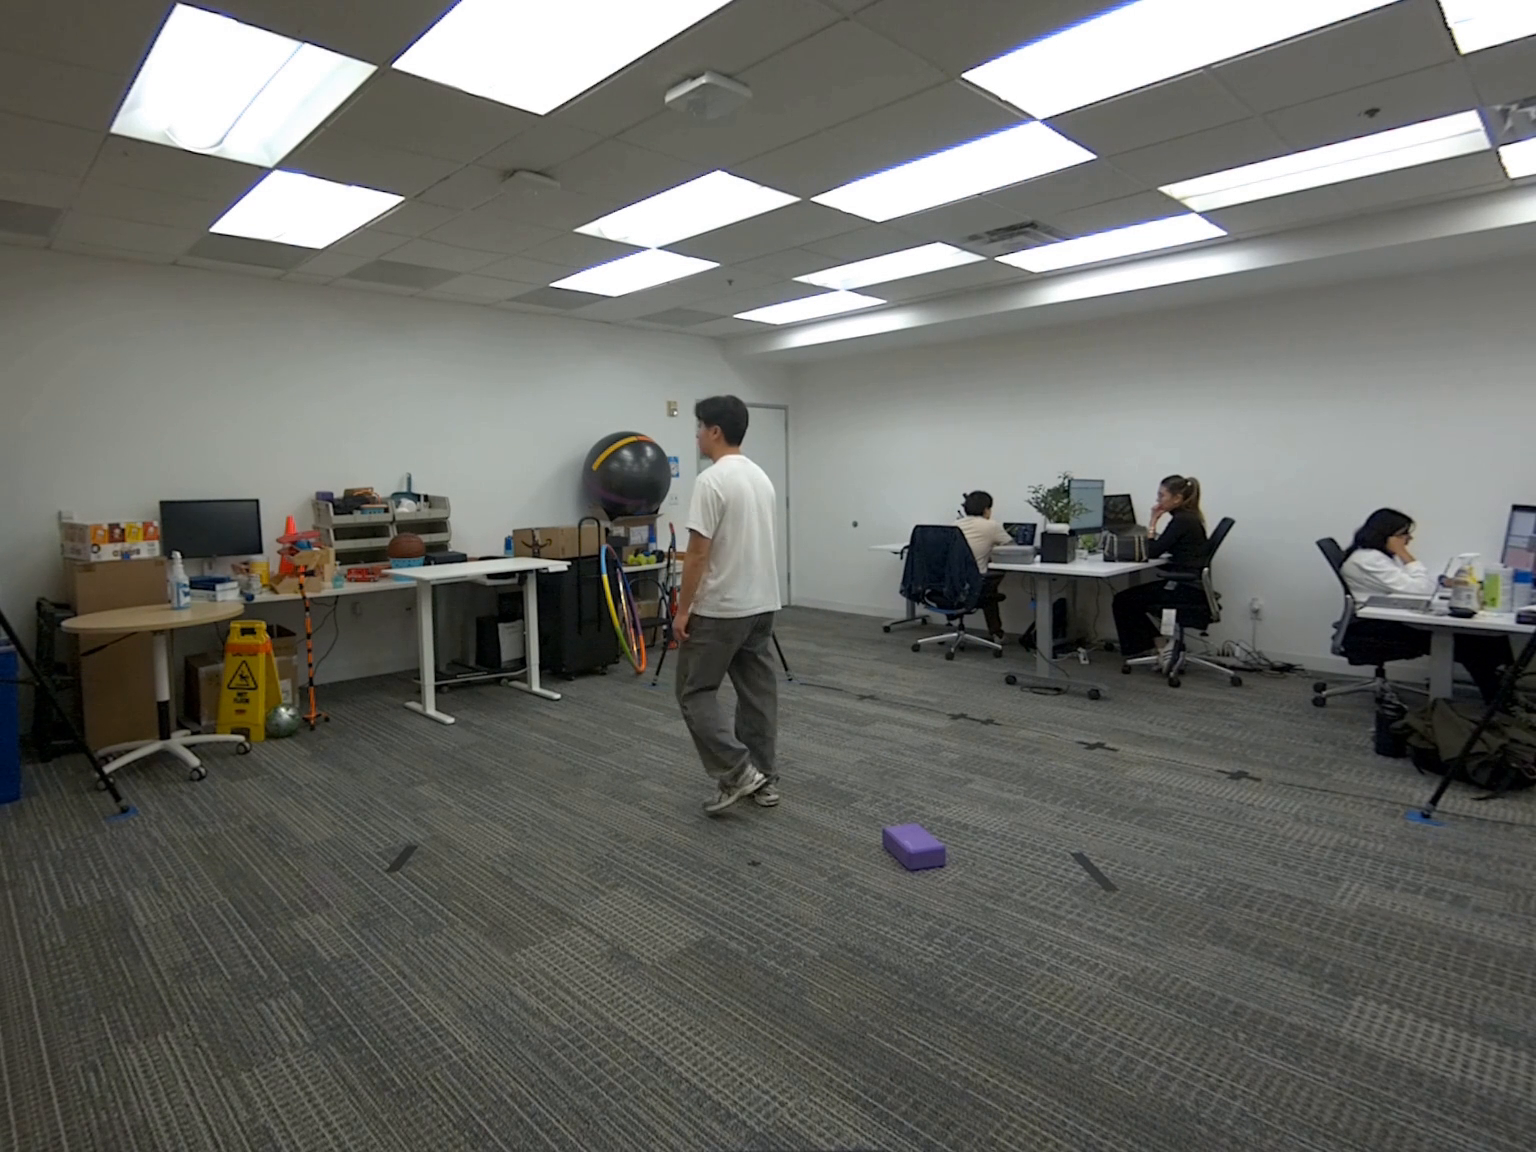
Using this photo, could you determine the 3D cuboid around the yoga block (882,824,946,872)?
[{"bbox_3d":[0.538,0.992,3.144,0.147,0.076,0.233,-3,6,-15],"label":"yoga block"}]
